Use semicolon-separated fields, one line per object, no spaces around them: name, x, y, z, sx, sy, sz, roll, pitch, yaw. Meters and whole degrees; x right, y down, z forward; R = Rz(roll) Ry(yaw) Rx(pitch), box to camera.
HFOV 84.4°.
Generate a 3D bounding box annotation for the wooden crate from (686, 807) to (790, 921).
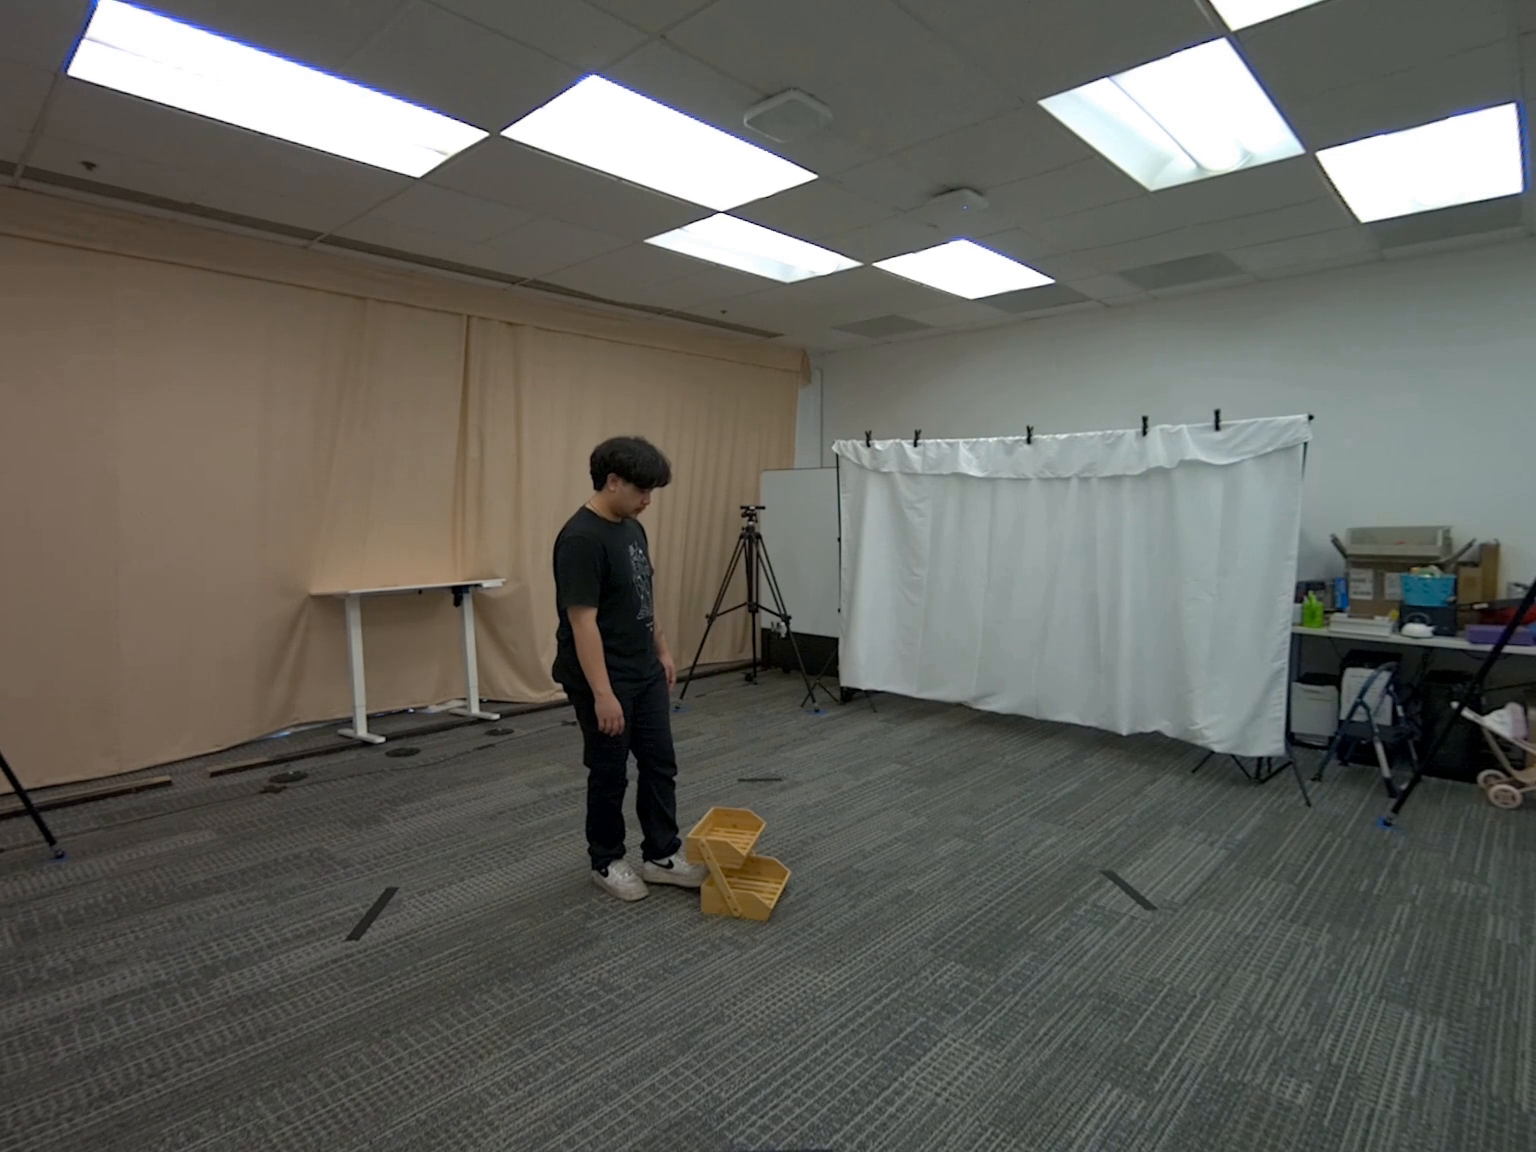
wooden crate;-0.090;1.012;2.989;0.307;0.273;0.319;0;4;16
